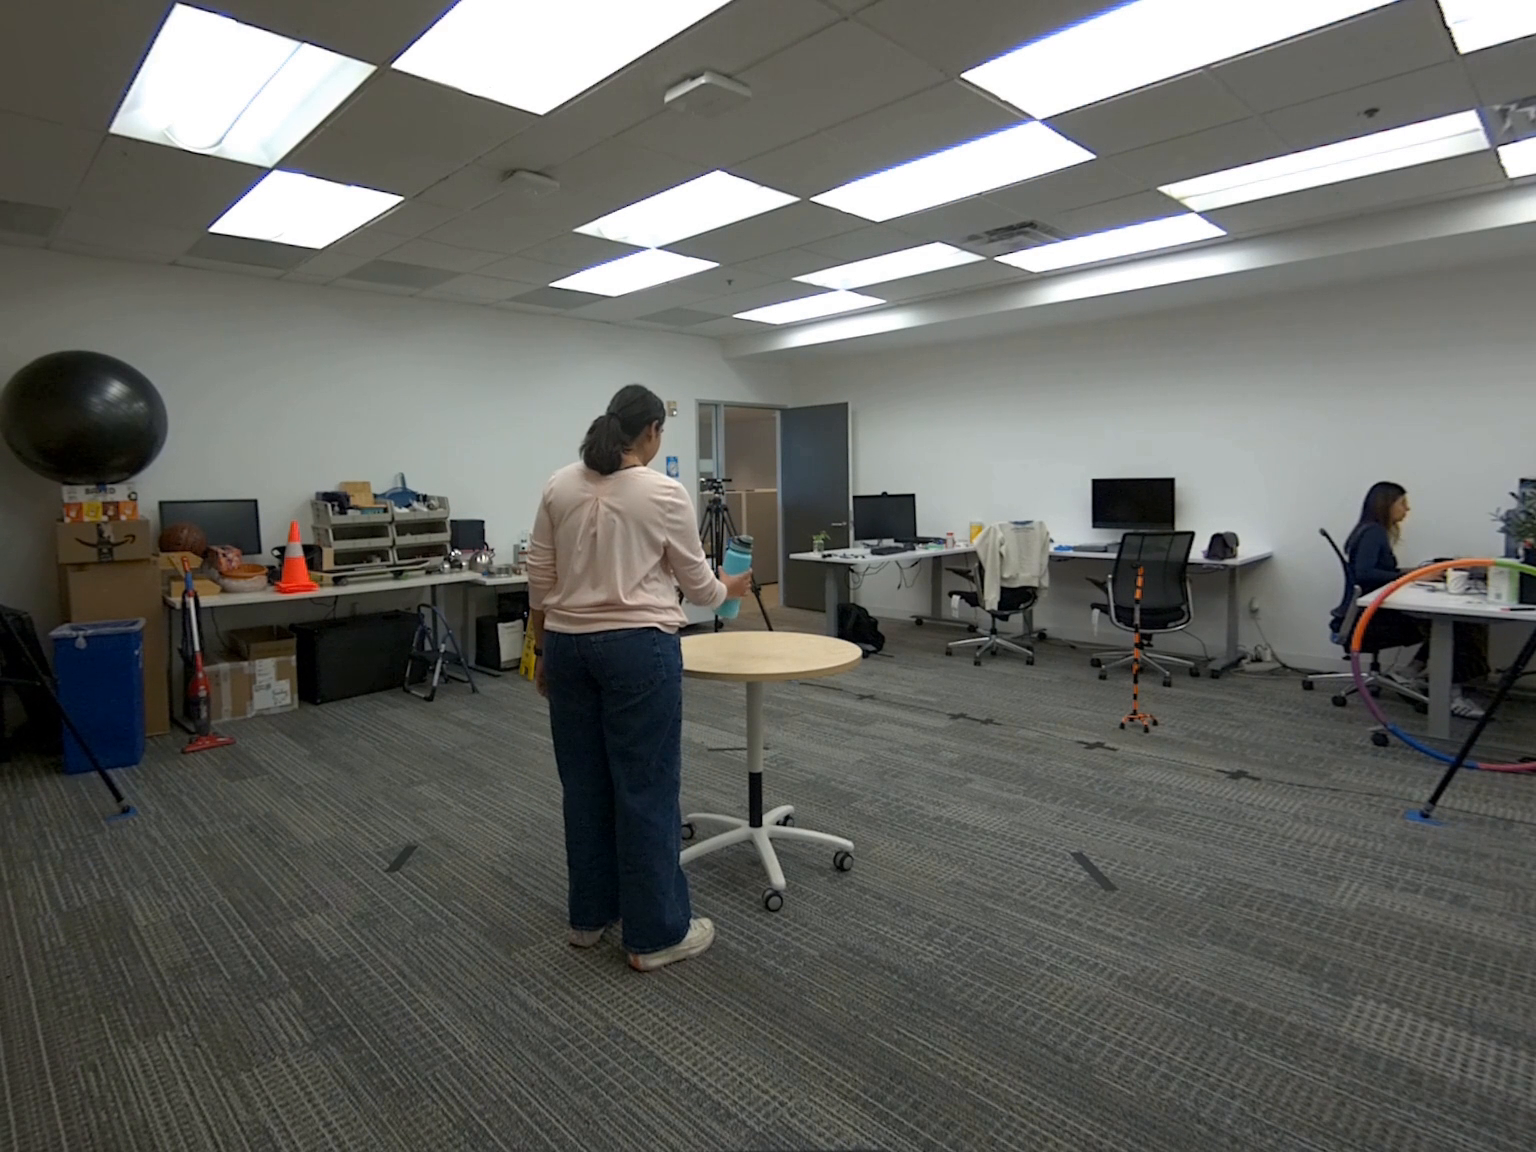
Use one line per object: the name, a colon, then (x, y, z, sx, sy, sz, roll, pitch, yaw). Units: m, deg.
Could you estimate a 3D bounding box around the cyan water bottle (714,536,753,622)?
cyan water bottle: (-0.116, -0.003, 2.906, 0.092, 0.282, 0.093, 11, 8, -3)
